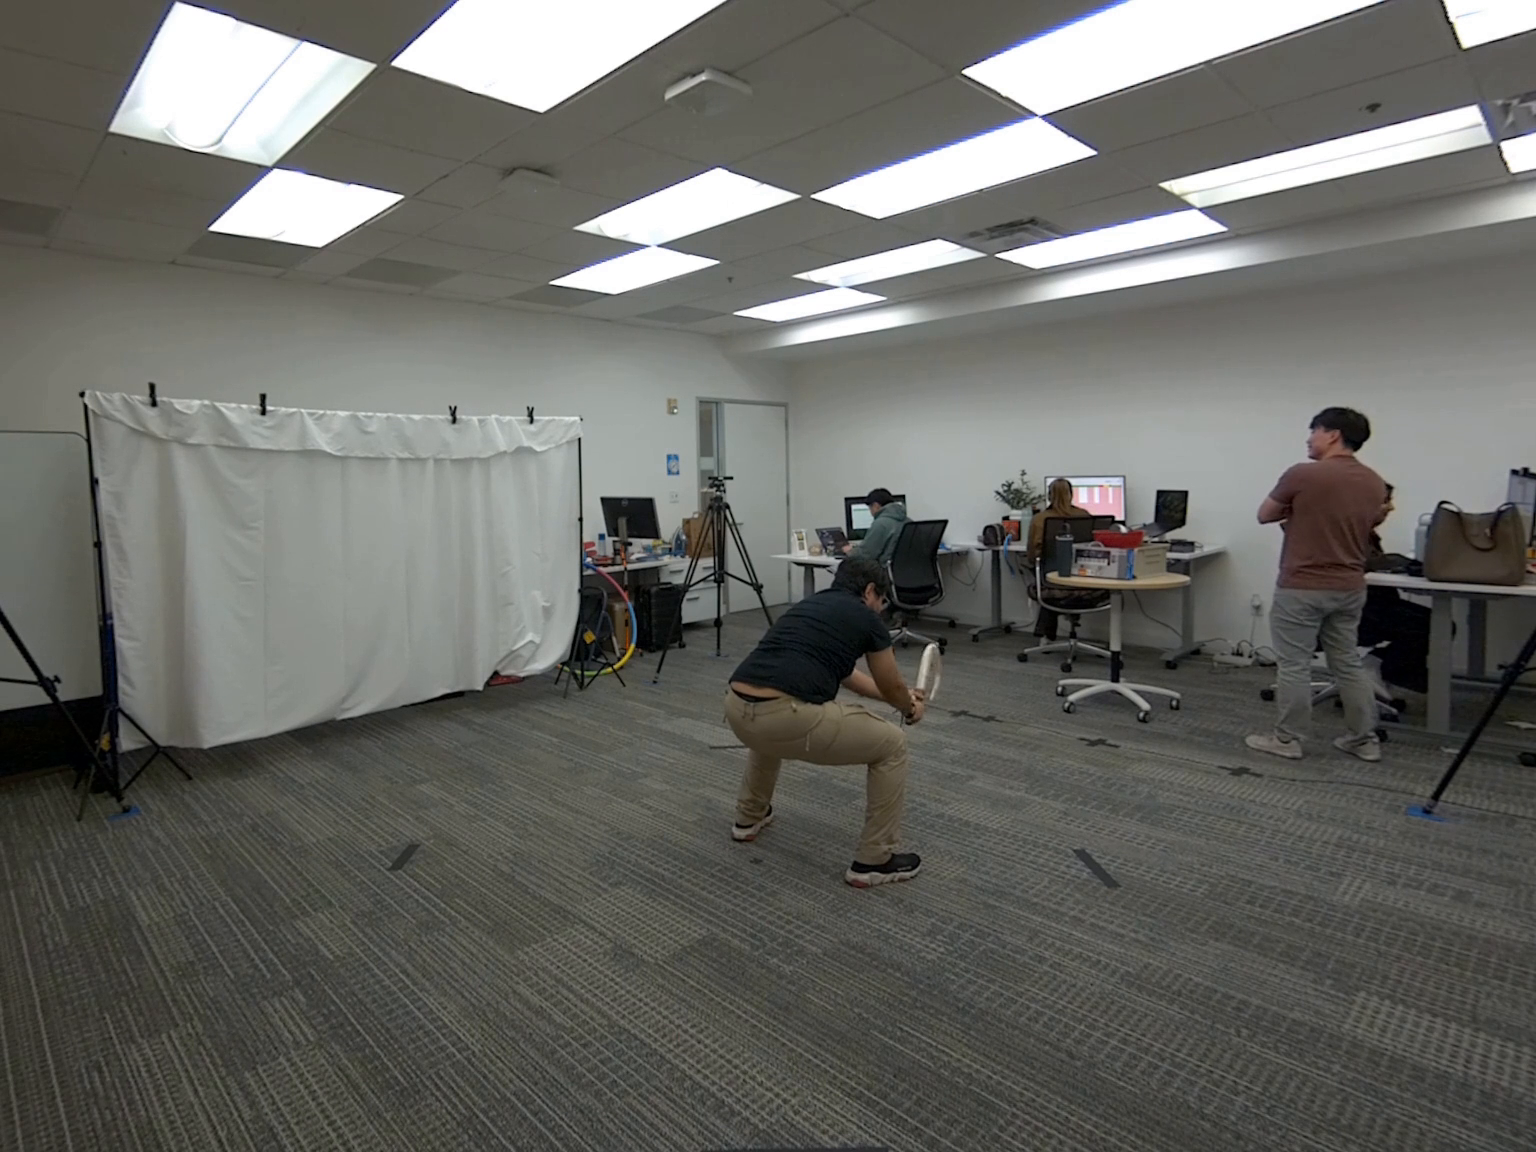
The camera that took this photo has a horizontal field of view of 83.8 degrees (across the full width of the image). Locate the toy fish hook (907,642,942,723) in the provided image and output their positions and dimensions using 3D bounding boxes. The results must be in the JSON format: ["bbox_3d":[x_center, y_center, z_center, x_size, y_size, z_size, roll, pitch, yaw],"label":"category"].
[{"bbox_3d":[0.656,0.489,3.614,0.049,0.218,0.509,-7,30,28],"label":"toy fish hook"}]
